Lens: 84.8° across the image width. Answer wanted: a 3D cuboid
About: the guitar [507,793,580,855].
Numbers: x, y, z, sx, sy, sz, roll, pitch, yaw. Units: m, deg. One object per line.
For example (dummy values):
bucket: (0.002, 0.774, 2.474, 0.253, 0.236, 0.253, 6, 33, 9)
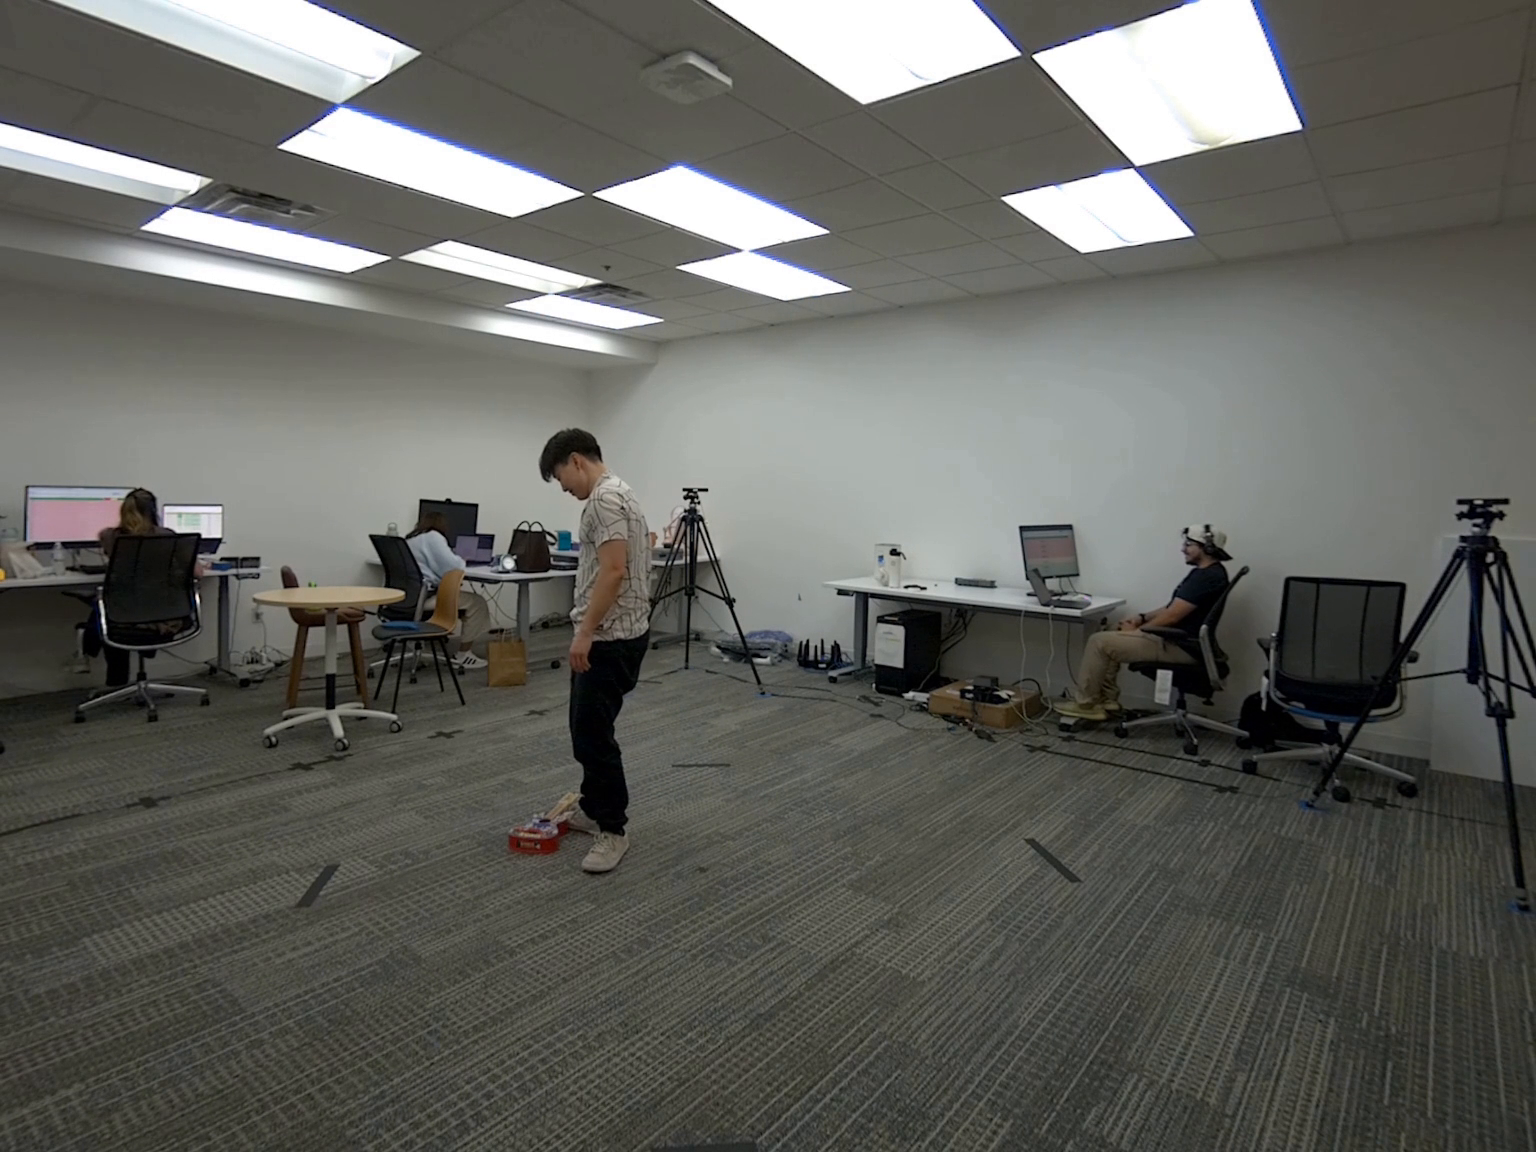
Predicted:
guitar: (-0.863, 0.991, 3.453, 0.197, 0.070, 0.490, 1, 6, 18)
